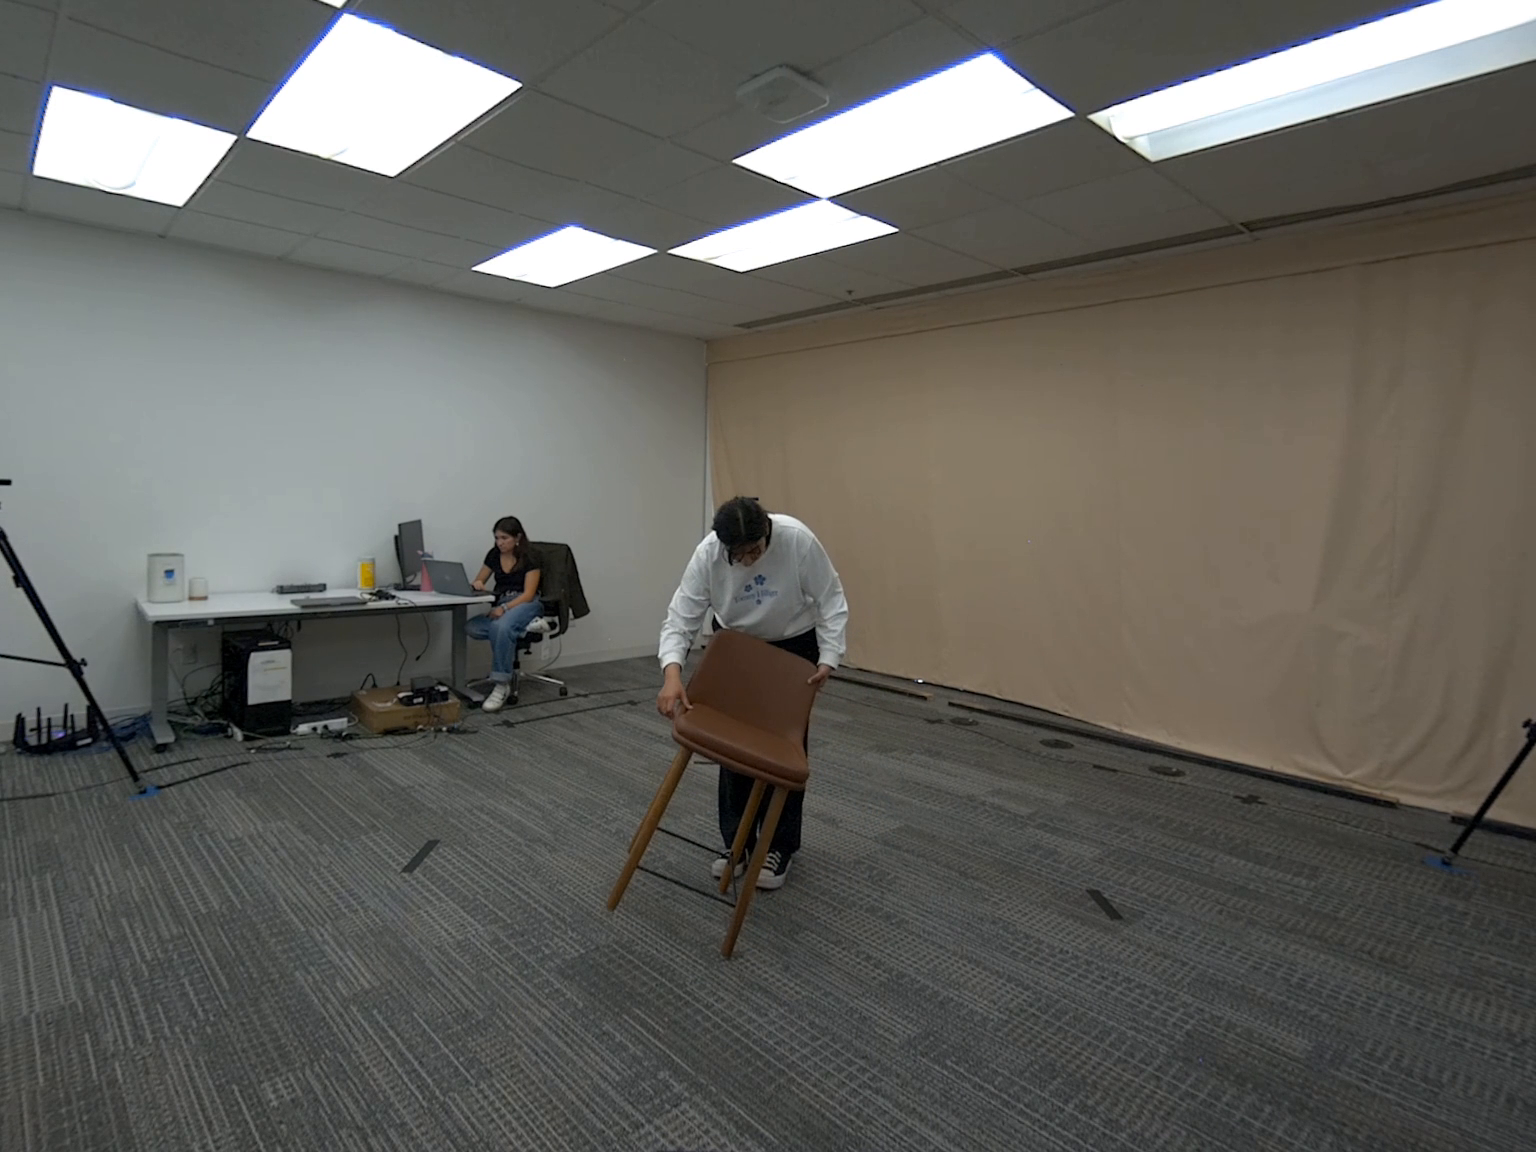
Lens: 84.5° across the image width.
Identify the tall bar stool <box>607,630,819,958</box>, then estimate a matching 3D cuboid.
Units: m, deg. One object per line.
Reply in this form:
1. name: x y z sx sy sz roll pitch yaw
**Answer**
1. tall bar stool: -0.158 0.668 2.747 0.455 0.890 0.469 22 -1 -4
